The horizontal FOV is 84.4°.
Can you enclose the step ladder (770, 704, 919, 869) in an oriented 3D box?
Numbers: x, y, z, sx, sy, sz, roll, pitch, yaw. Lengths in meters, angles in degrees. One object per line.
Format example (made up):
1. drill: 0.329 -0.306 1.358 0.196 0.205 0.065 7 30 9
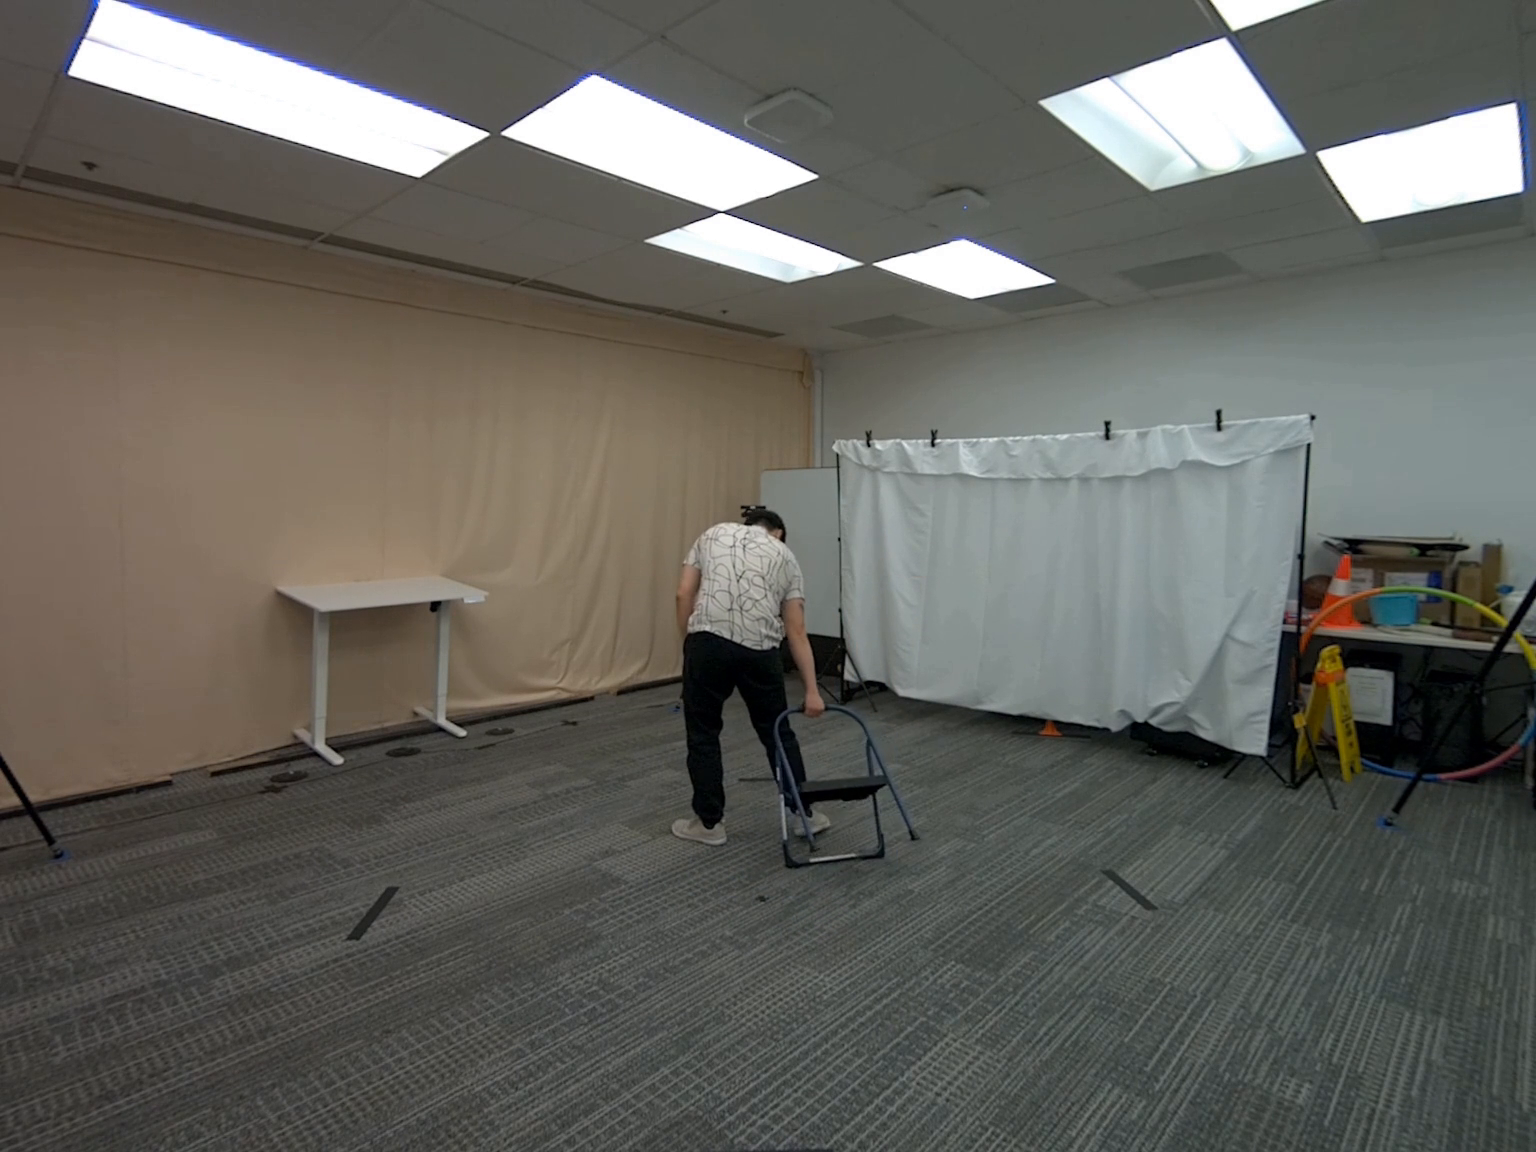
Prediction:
1. step ladder: 0.267 0.777 3.293 0.423 0.619 0.348 -1 -30 -18
